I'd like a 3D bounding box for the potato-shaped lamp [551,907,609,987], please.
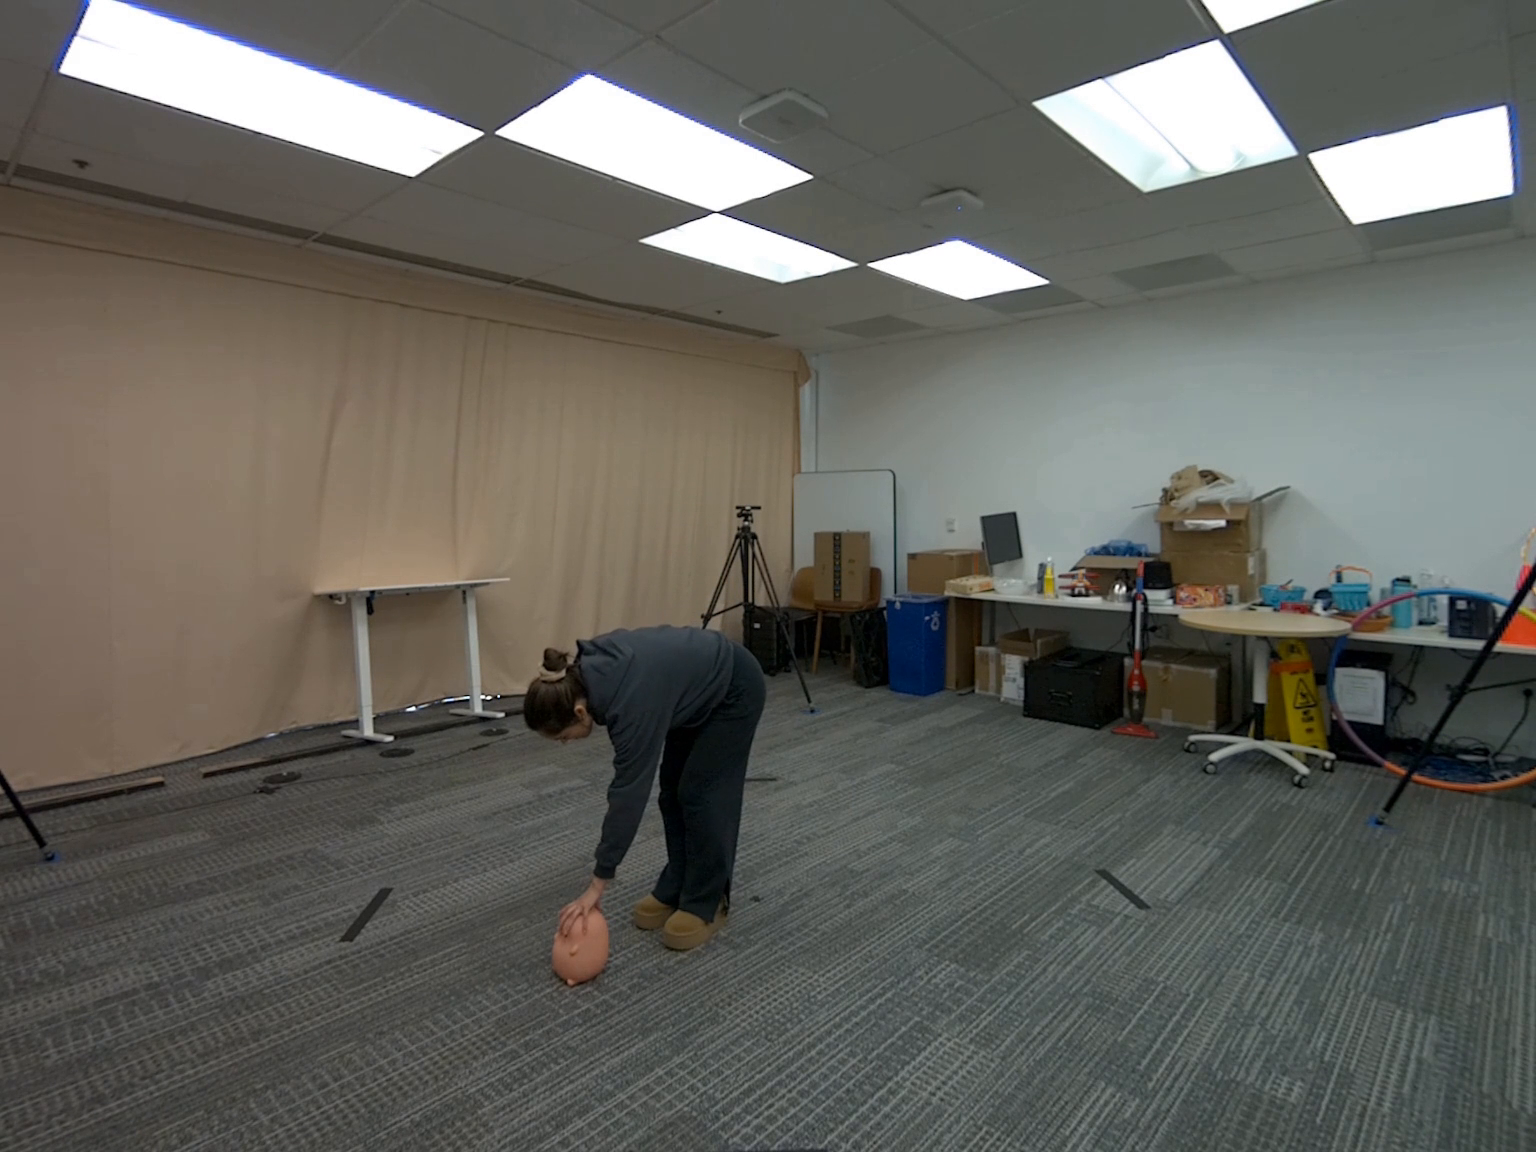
[{"bbox_3d":[-0.544,1.097,2.514,0.166,0.198,0.170,0,1,-40],"label":"potato-shaped lamp"}]
